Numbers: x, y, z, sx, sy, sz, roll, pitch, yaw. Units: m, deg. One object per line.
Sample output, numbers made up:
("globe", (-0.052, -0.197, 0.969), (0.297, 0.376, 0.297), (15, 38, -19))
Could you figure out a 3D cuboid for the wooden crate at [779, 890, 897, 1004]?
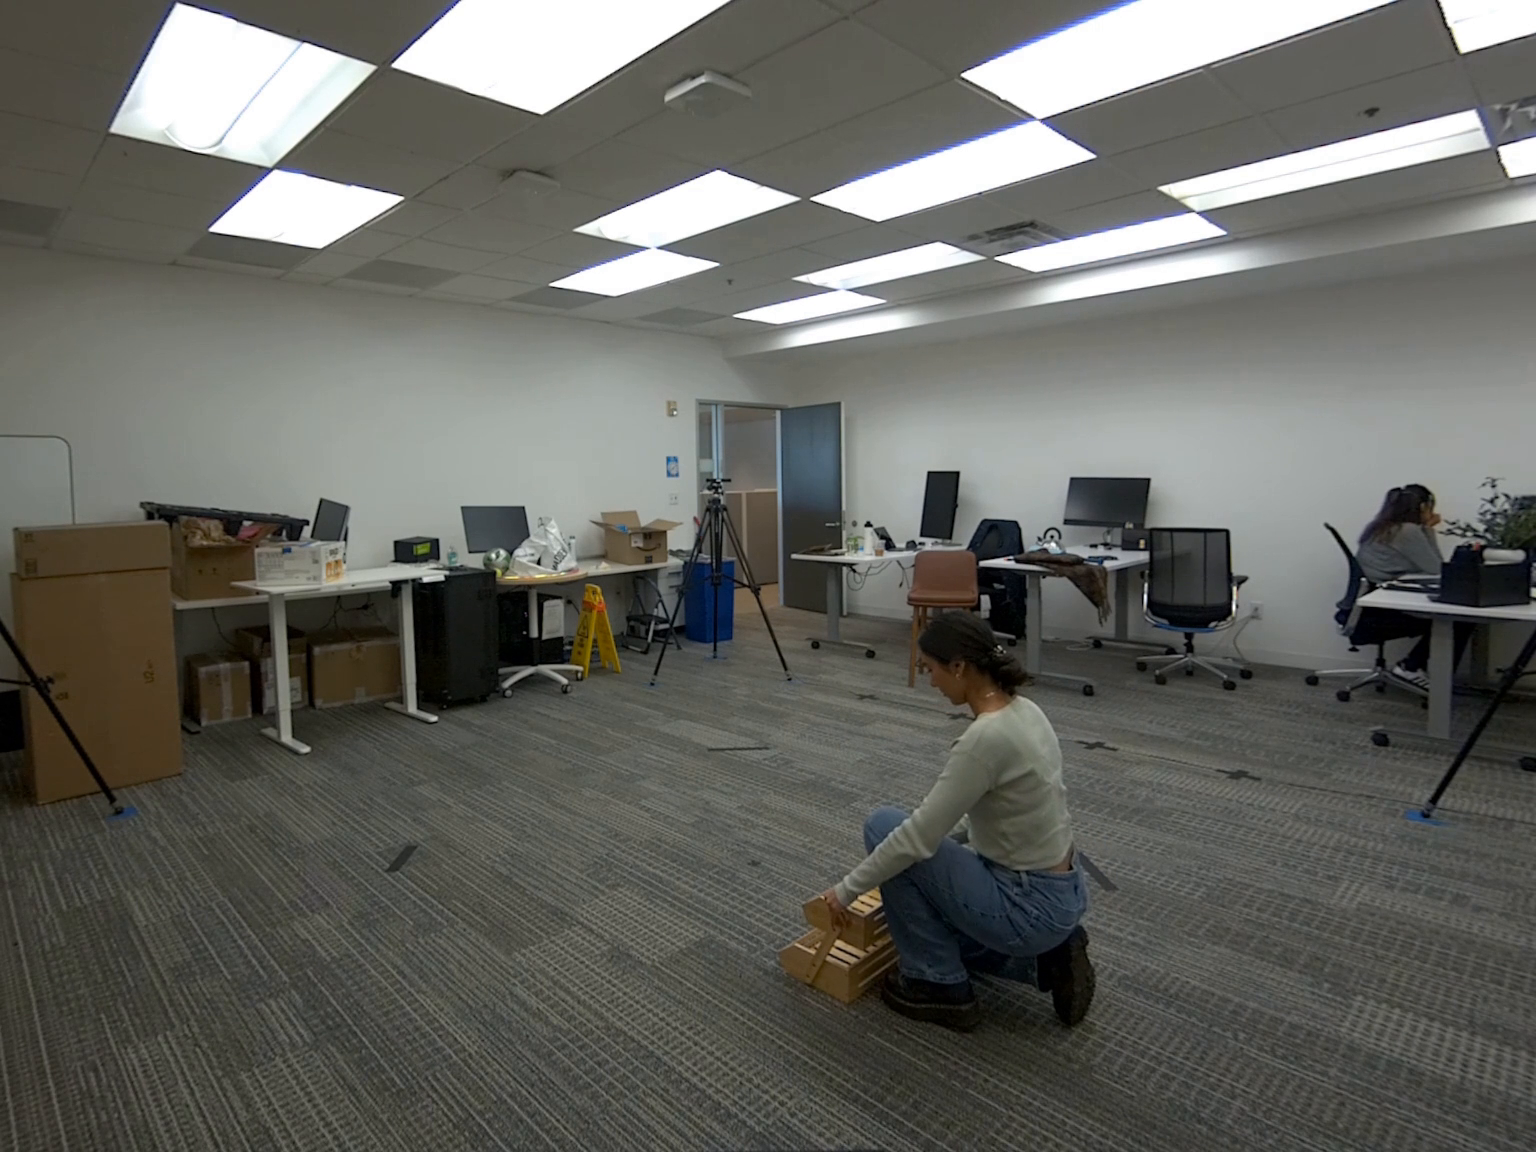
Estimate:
("wooden crate", (0.239, 0.981, 2.433), (0.311, 0.272, 0.316), (5, 9, 43))
